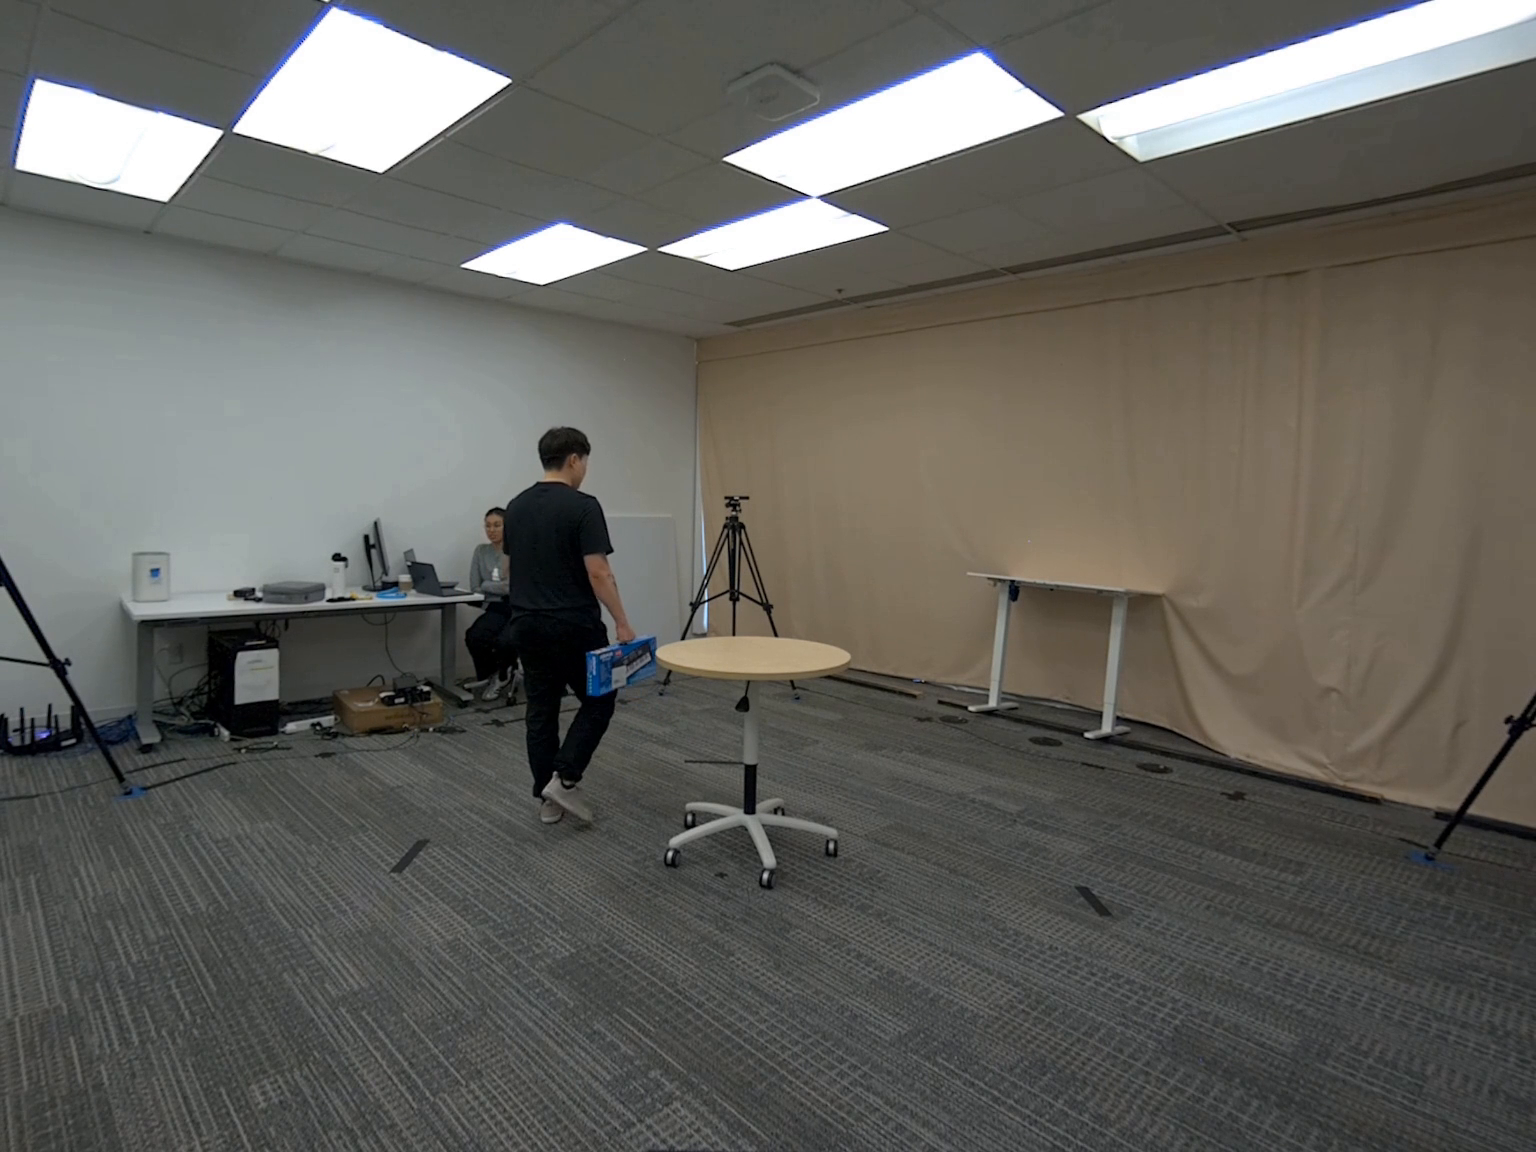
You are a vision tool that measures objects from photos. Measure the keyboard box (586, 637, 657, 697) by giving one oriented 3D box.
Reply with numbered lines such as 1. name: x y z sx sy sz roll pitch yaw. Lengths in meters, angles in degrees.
1. keyboard box: -0.611 0.368 3.524 0.060 0.175 0.430 2 5 24
